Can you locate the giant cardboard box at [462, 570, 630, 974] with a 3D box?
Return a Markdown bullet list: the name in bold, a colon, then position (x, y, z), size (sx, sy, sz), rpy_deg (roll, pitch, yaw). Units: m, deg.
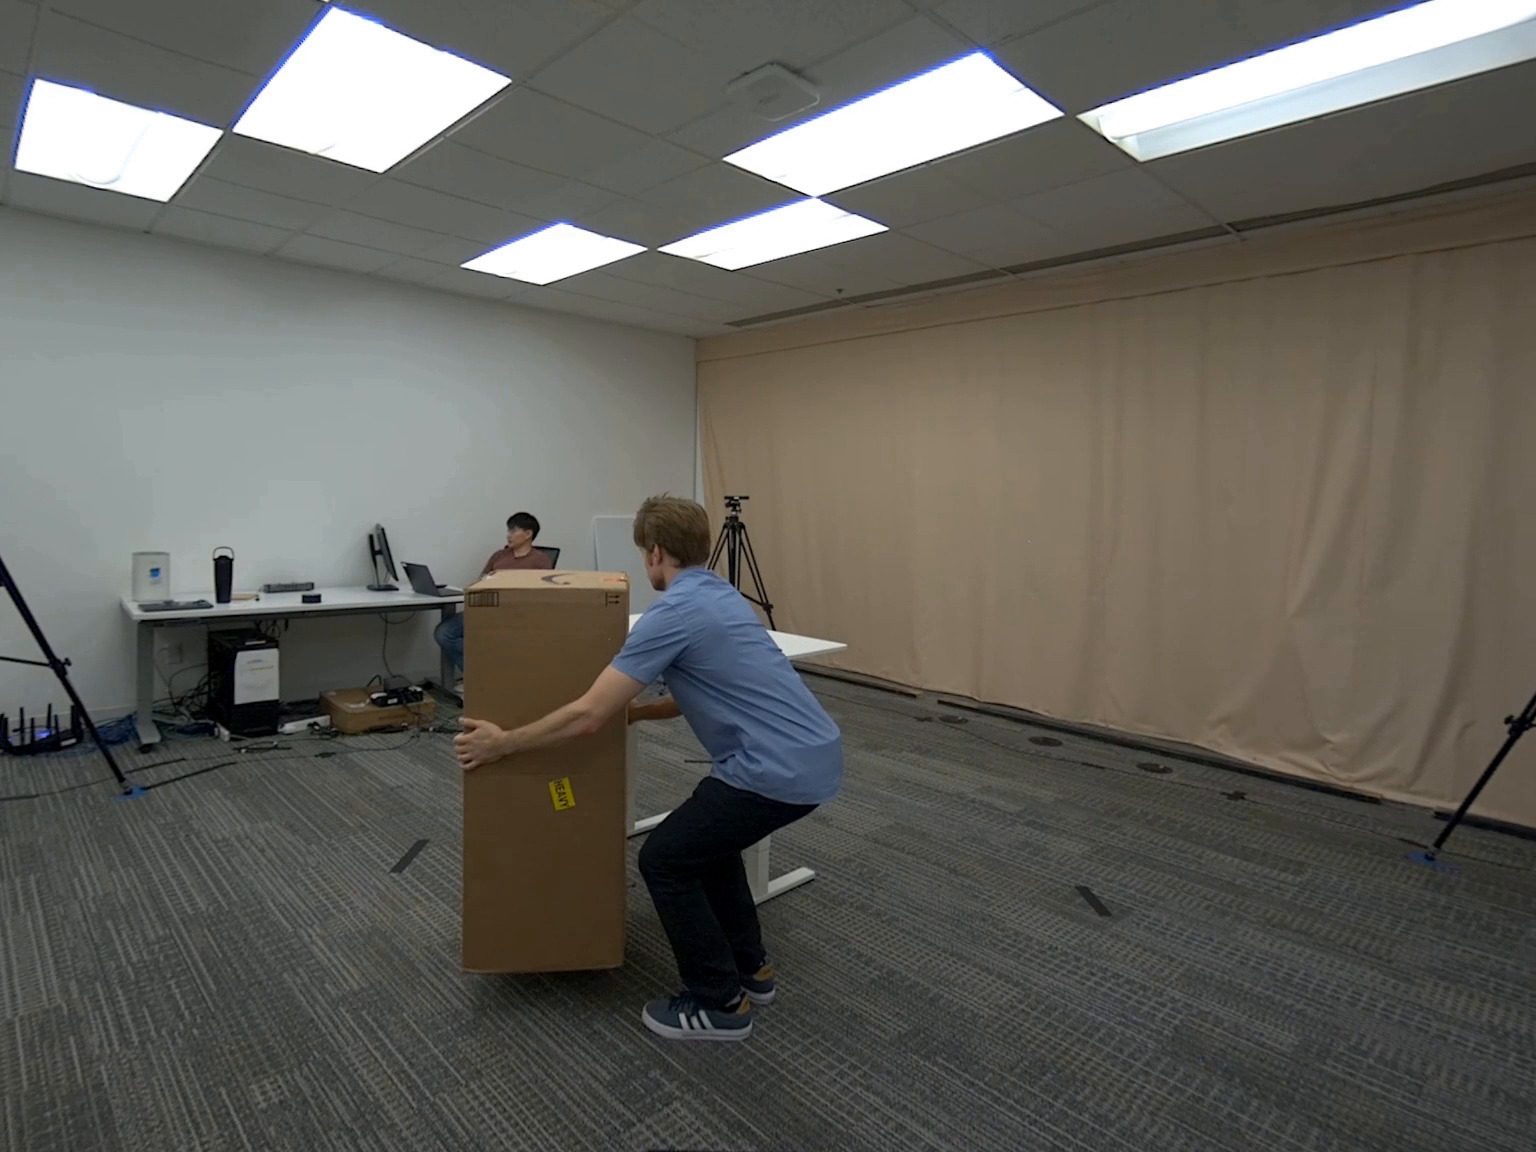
- **giant cardboard box**: position (-0.640, 0.518, 2.493), size (0.423, 1.023, 0.582), rpy_deg (1, 4, -8)
